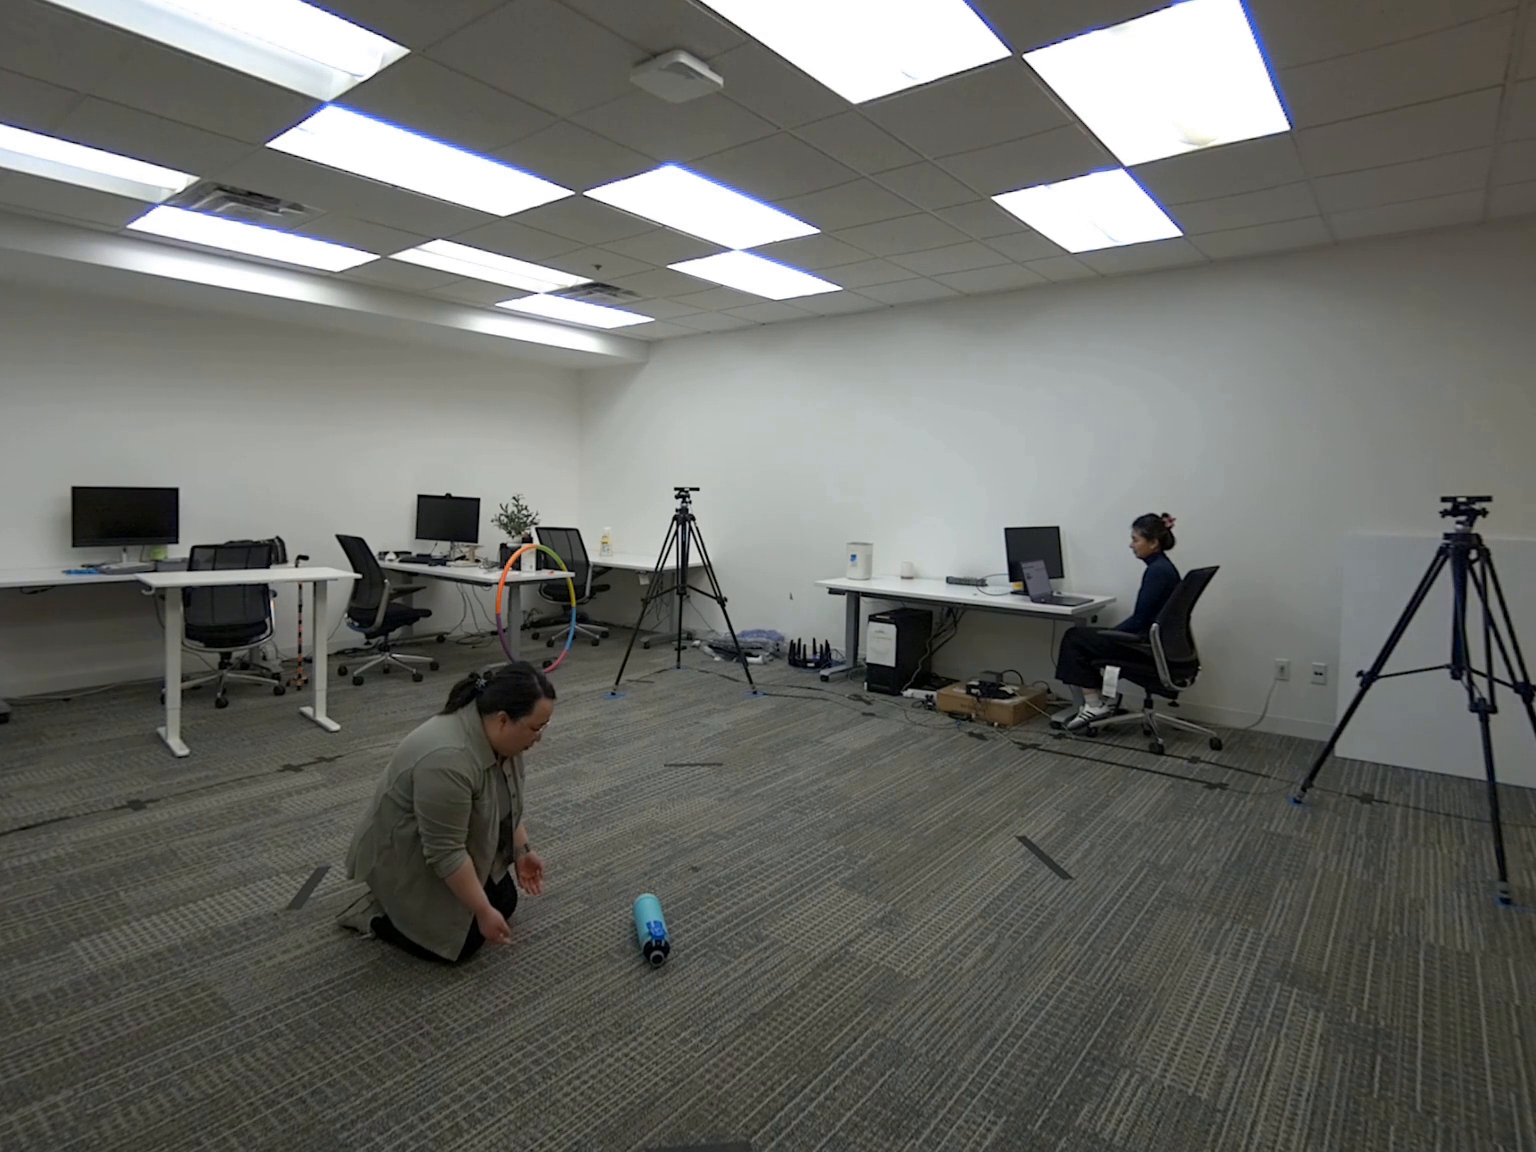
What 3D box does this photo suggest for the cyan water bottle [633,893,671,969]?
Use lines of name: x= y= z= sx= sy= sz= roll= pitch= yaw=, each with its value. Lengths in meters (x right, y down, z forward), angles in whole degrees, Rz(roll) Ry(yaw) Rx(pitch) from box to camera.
cyan water bottle: x=-0.362 y=1.073 z=2.576 sx=0.091 sy=0.092 sz=0.288 roll=0 pitch=5 yaw=-14
